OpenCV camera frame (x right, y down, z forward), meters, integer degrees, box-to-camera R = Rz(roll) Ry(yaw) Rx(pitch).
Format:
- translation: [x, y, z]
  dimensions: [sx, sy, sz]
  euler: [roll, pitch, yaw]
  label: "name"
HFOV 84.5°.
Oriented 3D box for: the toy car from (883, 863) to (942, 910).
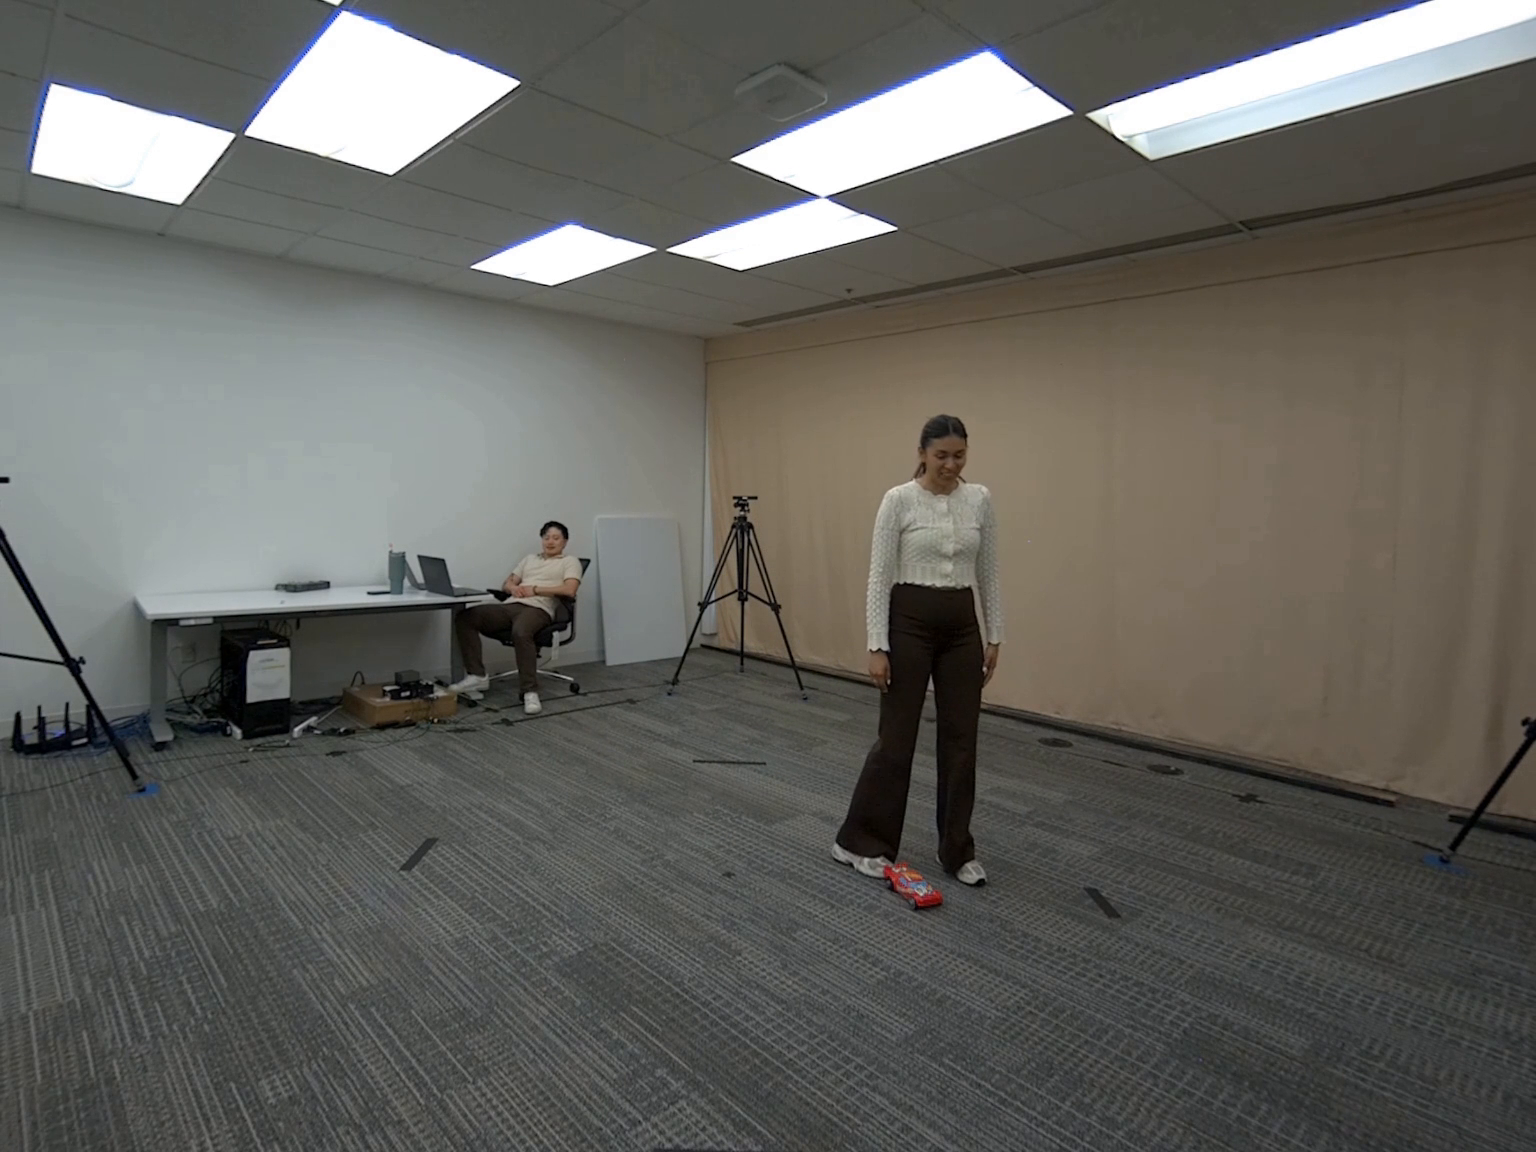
- translation: [0.497, 1.099, 2.981]
  dimensions: [0.128, 0.082, 0.261]
  euler: [1, 15, -23]
  label: "toy car"
